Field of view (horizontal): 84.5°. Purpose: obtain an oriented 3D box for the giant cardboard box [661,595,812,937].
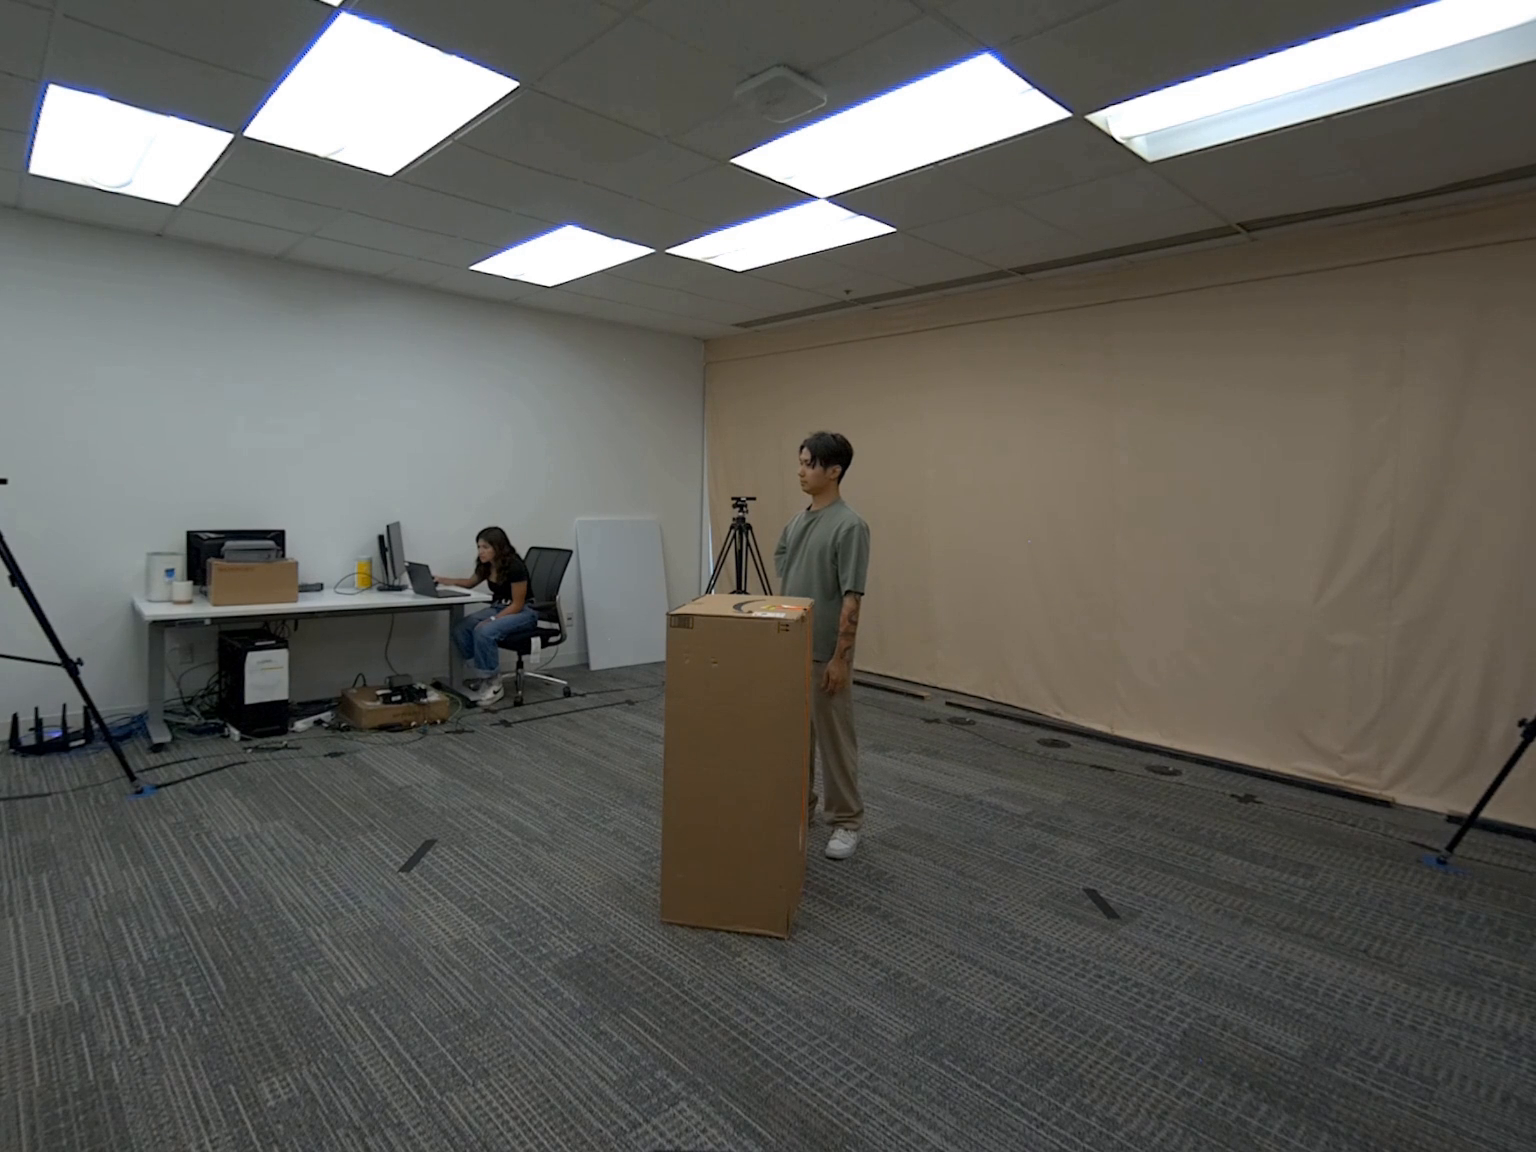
[{"bbox_3d":[-0.092,0.613,2.954,0.430,1.023,0.574,2,3,9],"label":"giant cardboard box"}]
